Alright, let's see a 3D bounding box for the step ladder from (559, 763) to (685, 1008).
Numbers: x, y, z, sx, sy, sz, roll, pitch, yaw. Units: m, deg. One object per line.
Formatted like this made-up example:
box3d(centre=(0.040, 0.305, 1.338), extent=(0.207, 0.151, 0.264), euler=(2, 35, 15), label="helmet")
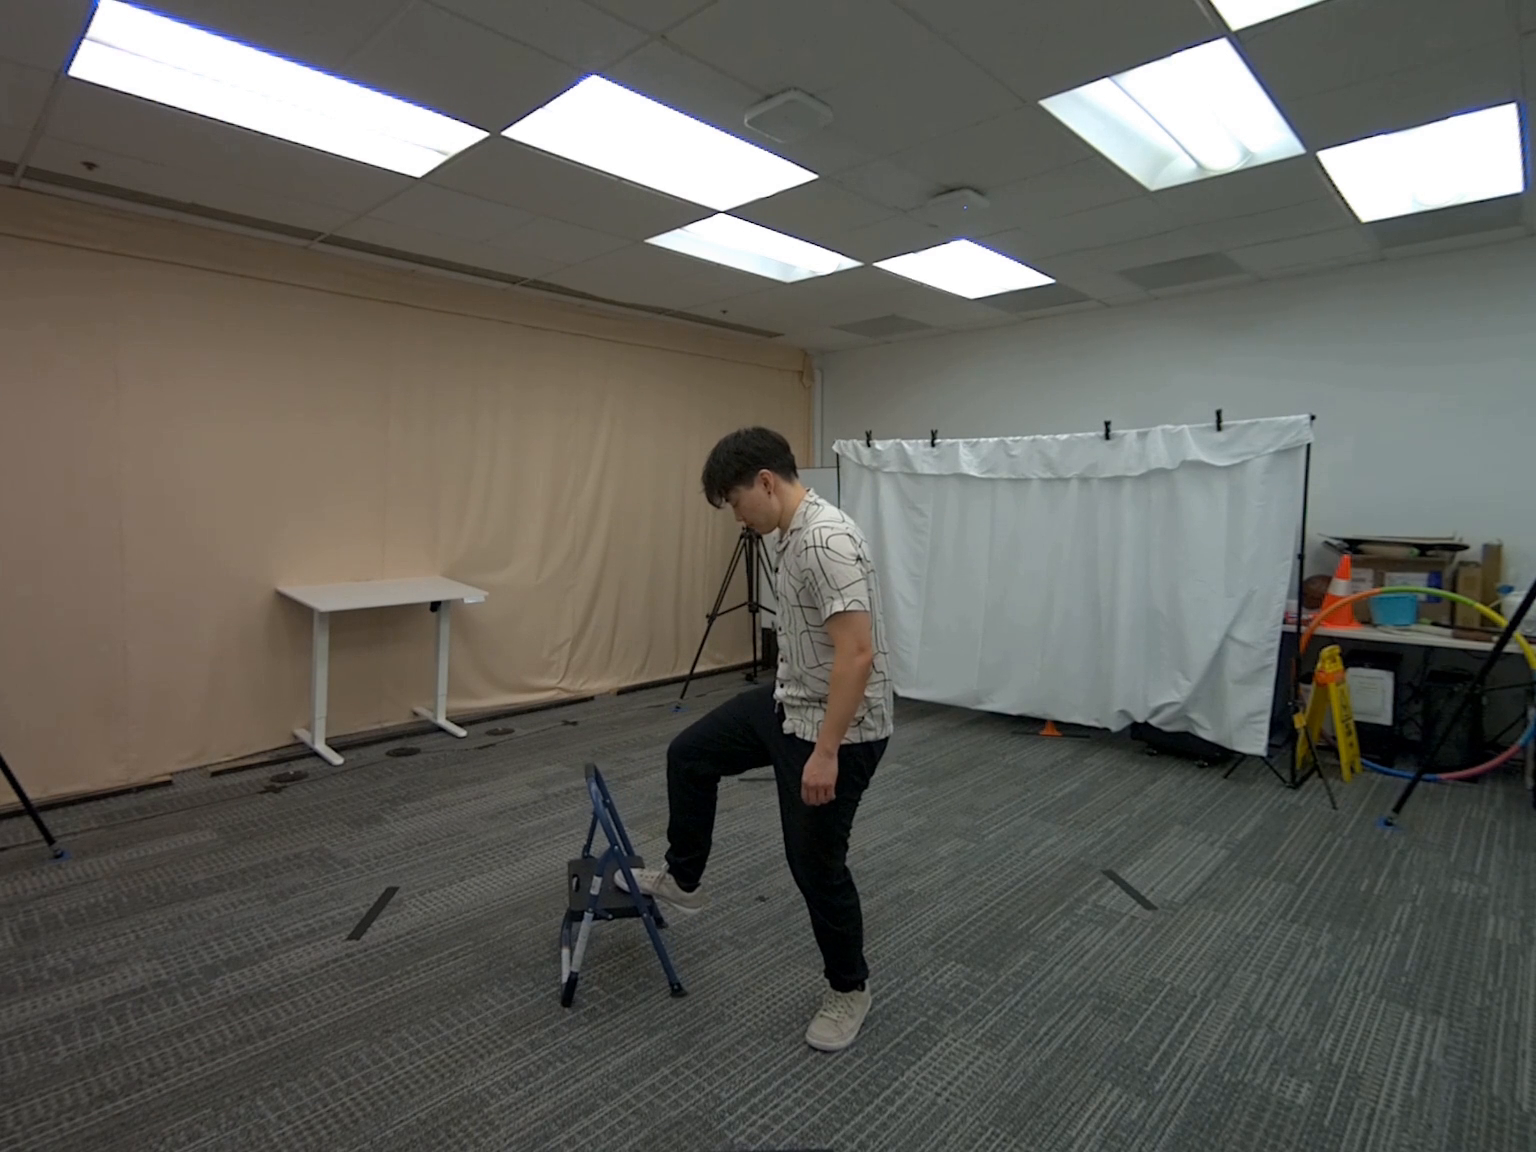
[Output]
box3d(centre=(-0.461, 0.884, 2.552), extent=(0.344, 0.605, 0.438), euler=(-1, 3, -14), label="step ladder")
